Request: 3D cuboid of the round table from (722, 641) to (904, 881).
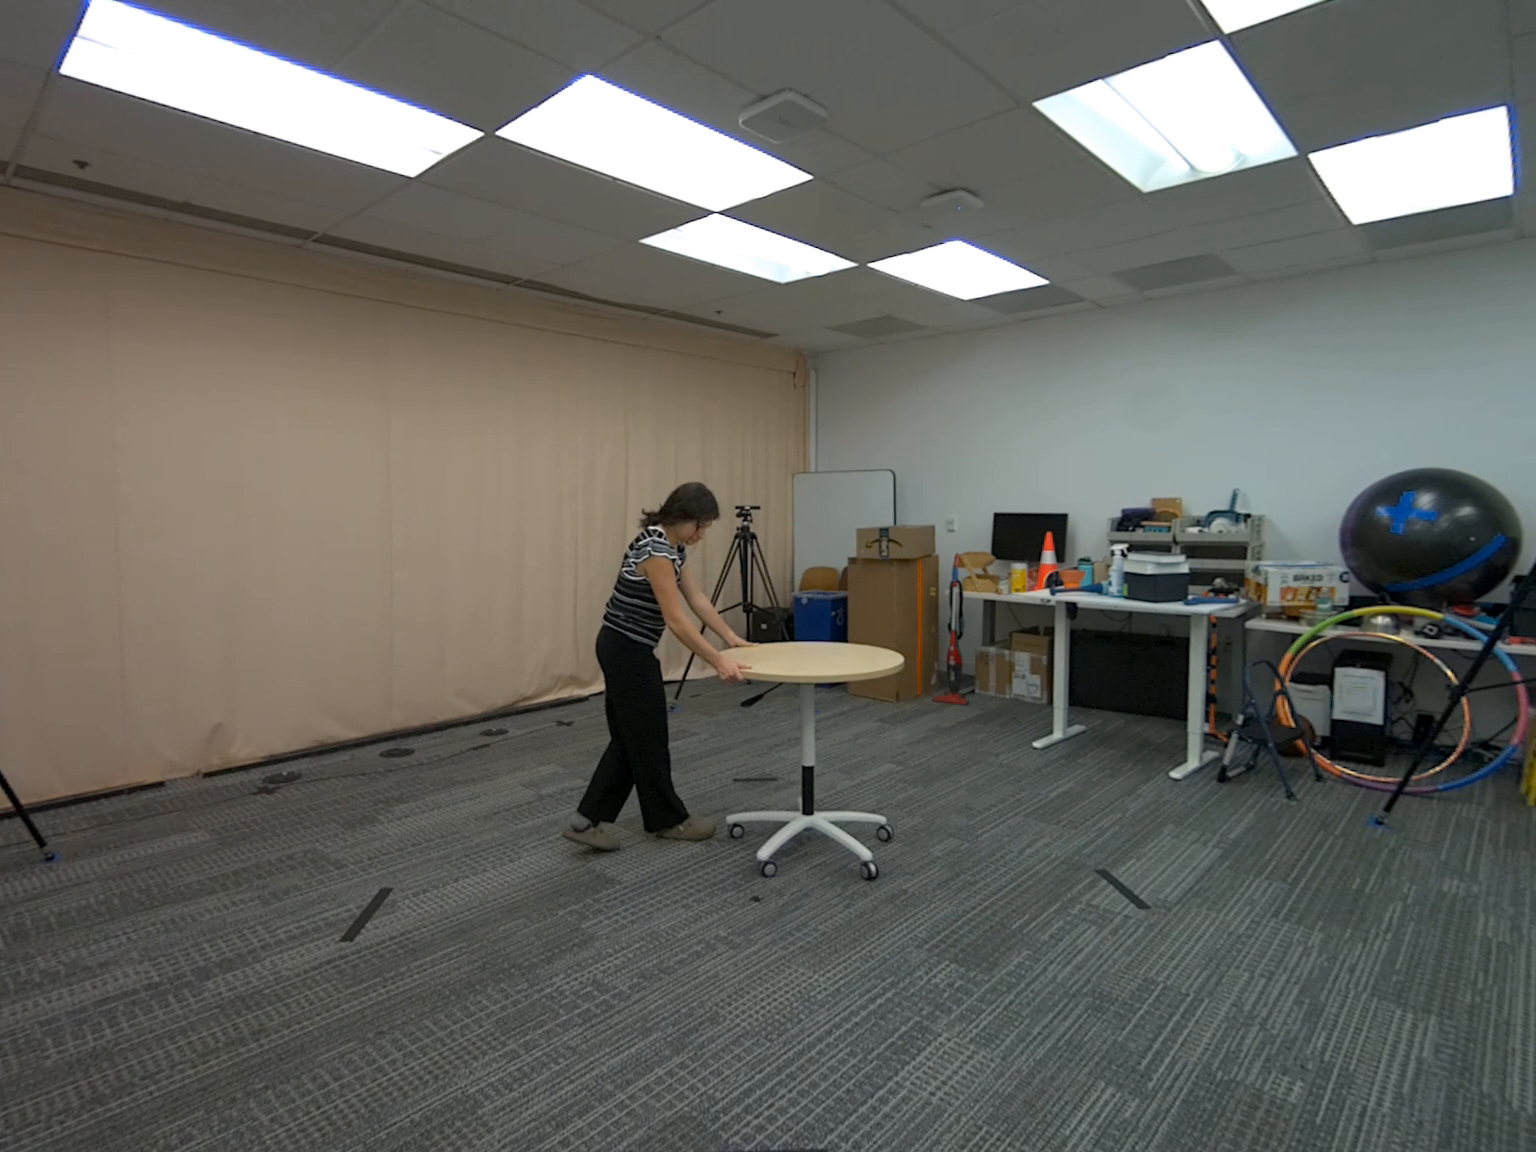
[{"bbox_3d":[0.174,0.722,3.403,0.763,0.792,0.766,-1,3,-2],"label":"round table"}]
